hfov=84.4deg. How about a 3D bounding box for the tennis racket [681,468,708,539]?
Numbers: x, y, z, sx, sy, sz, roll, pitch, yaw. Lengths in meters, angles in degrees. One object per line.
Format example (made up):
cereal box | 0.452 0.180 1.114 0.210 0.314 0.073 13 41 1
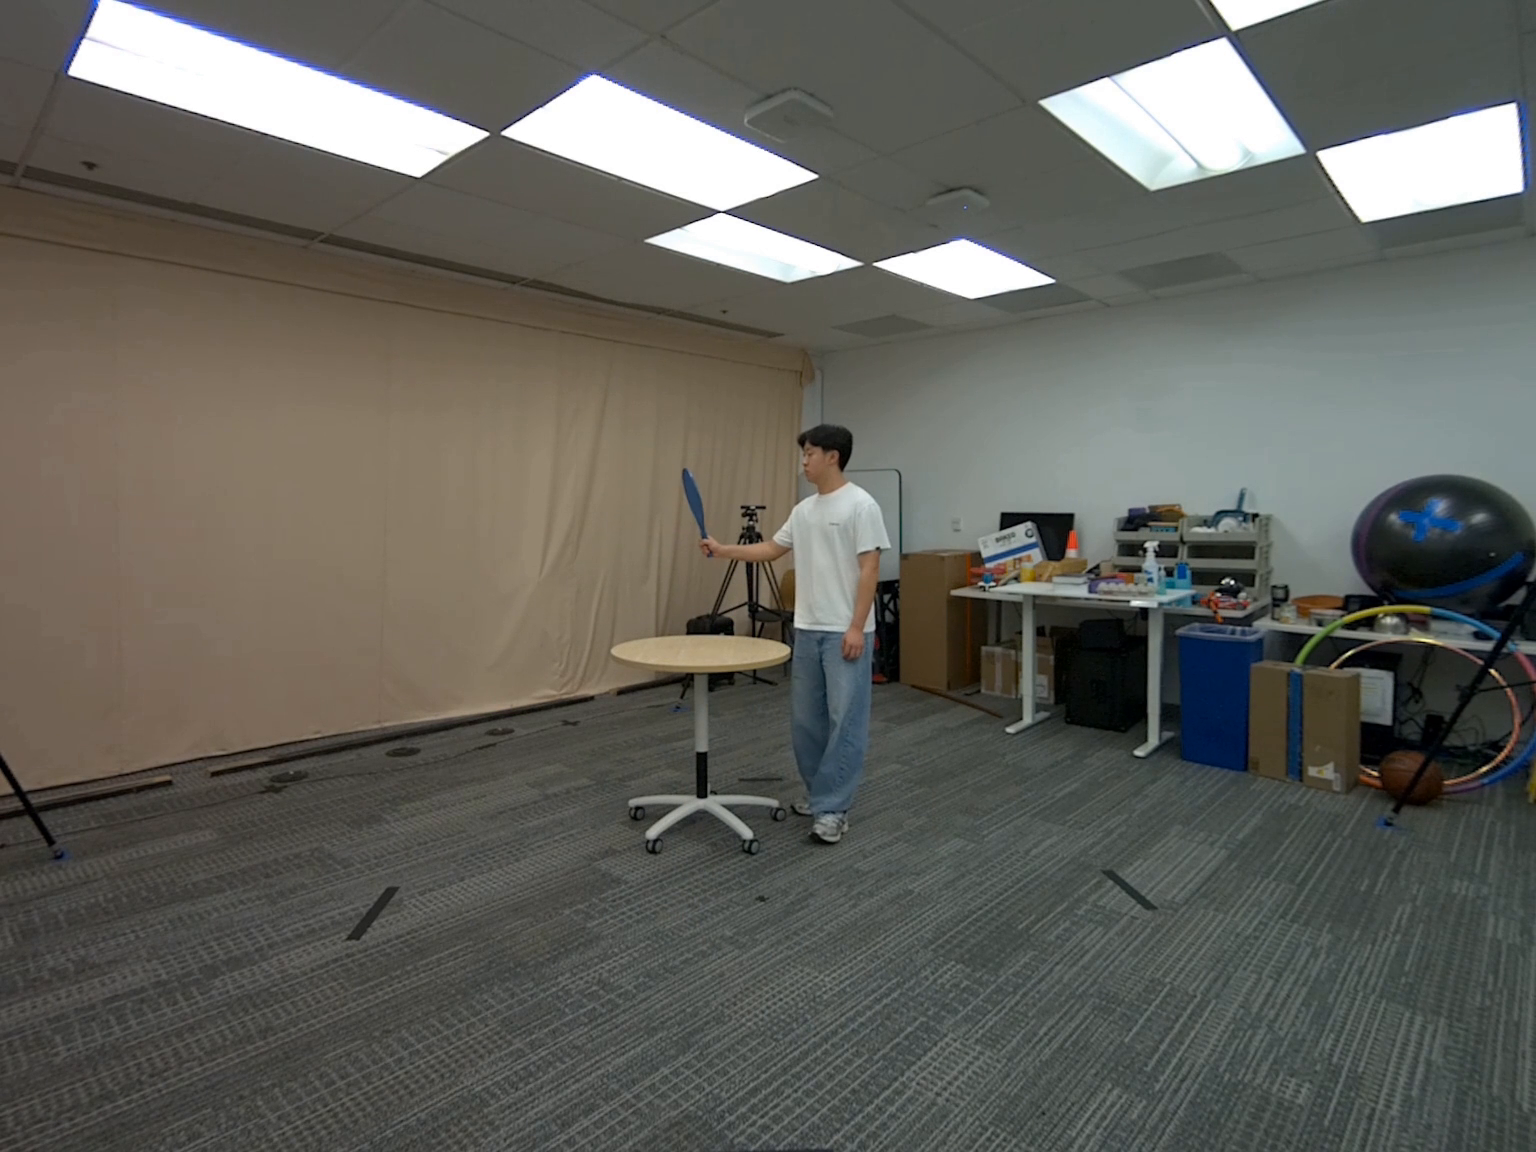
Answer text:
tennis racket | -0.323 -0.287 3.900 0.031 0.429 0.218 -18 10 -18
